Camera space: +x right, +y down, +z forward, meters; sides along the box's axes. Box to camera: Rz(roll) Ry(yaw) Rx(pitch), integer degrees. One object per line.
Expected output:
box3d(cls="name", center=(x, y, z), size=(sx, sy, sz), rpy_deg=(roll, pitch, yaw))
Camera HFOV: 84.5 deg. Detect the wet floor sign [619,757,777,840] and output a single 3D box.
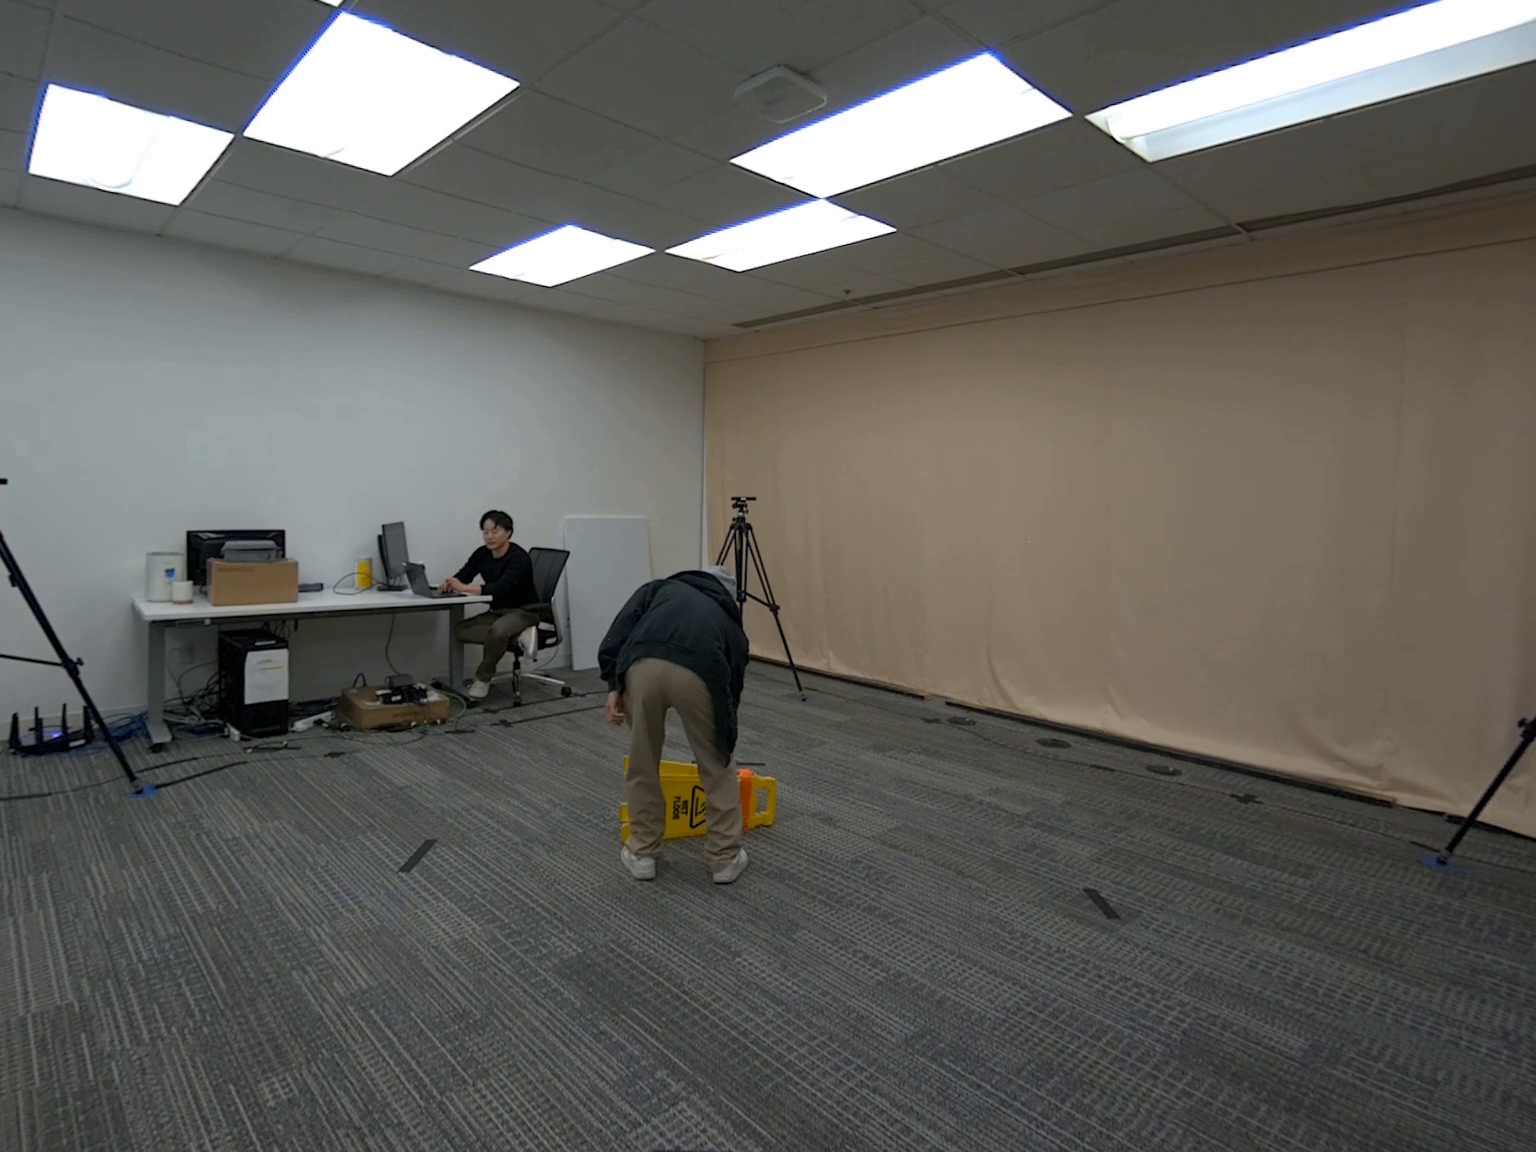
box3d(cls="wet floor sign", center=(-0.299, 0.940, 3.553), size=(0.641, 0.282, 0.292), rpy_deg=(4, 3, -10))
